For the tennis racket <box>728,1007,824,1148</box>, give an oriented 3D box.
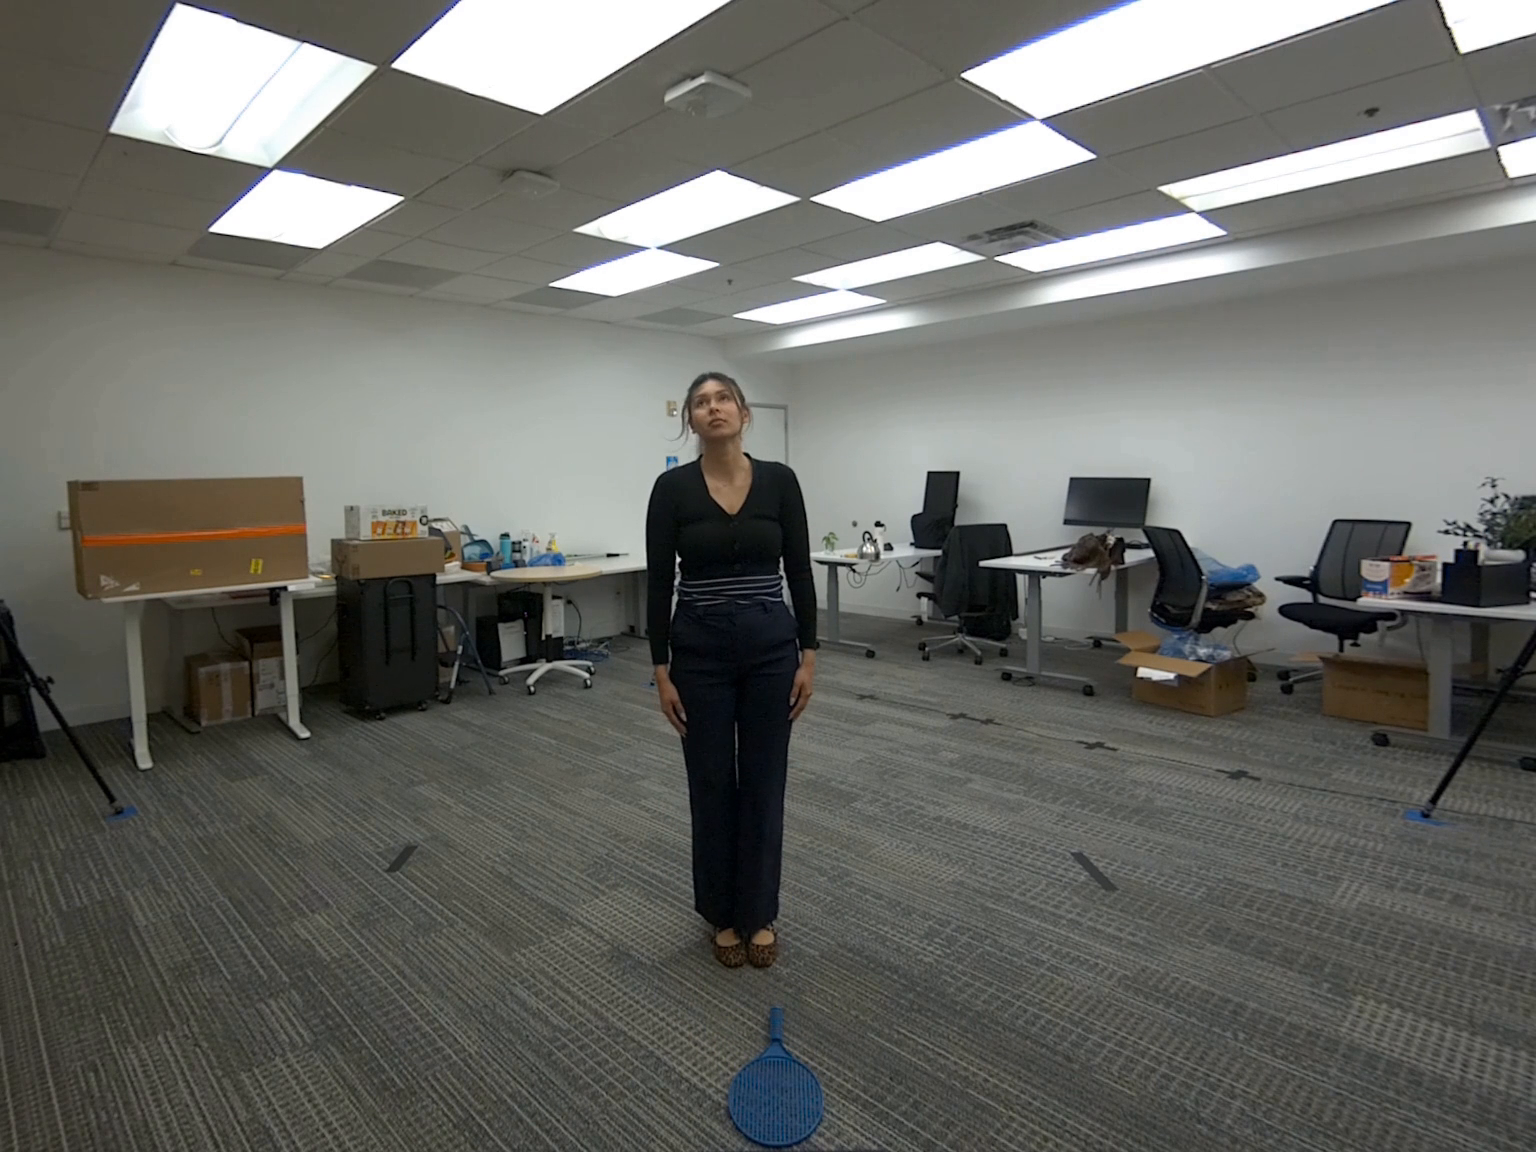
[{"bbox_3d":[0.022,1.171,1.998,0.214,0.031,0.435,-2,8,0],"label":"tennis racket"}]
